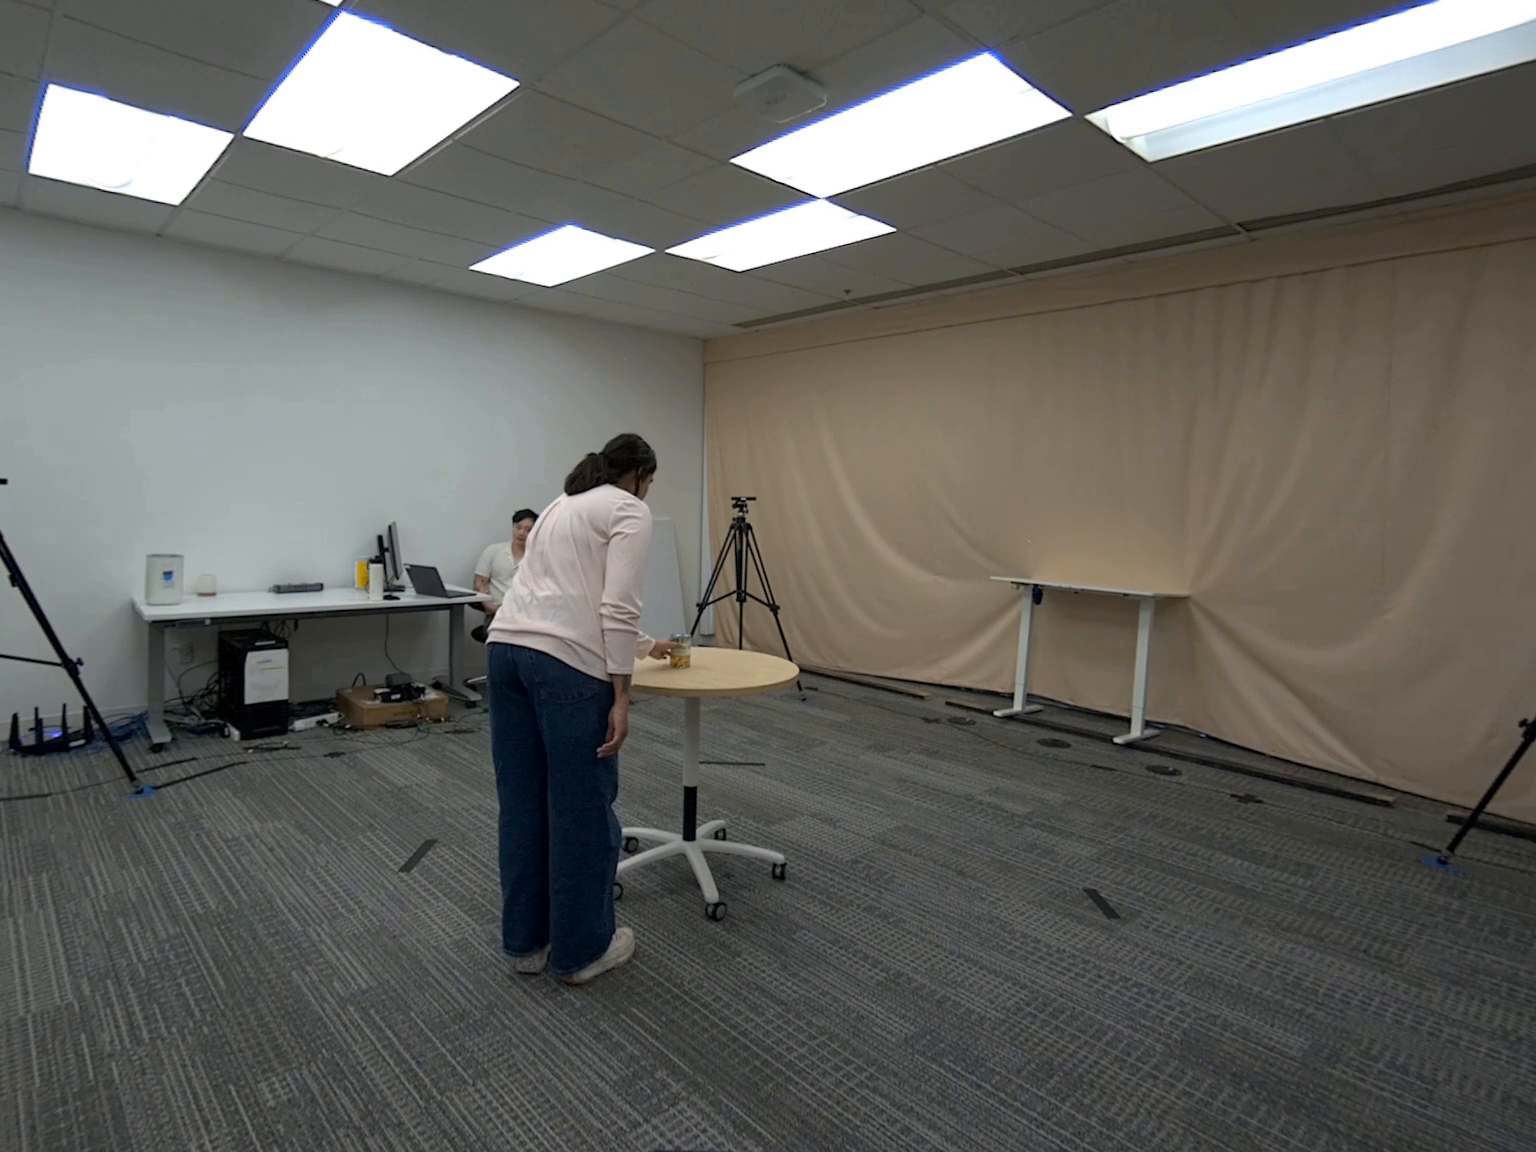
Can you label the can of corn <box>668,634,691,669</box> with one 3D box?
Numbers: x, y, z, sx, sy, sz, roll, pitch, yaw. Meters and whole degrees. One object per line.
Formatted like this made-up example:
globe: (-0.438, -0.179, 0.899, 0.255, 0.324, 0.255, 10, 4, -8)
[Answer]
can of corn: (-0.322, 0.269, 3.019, 0.074, 0.111, 0.074, 3, 3, -2)
